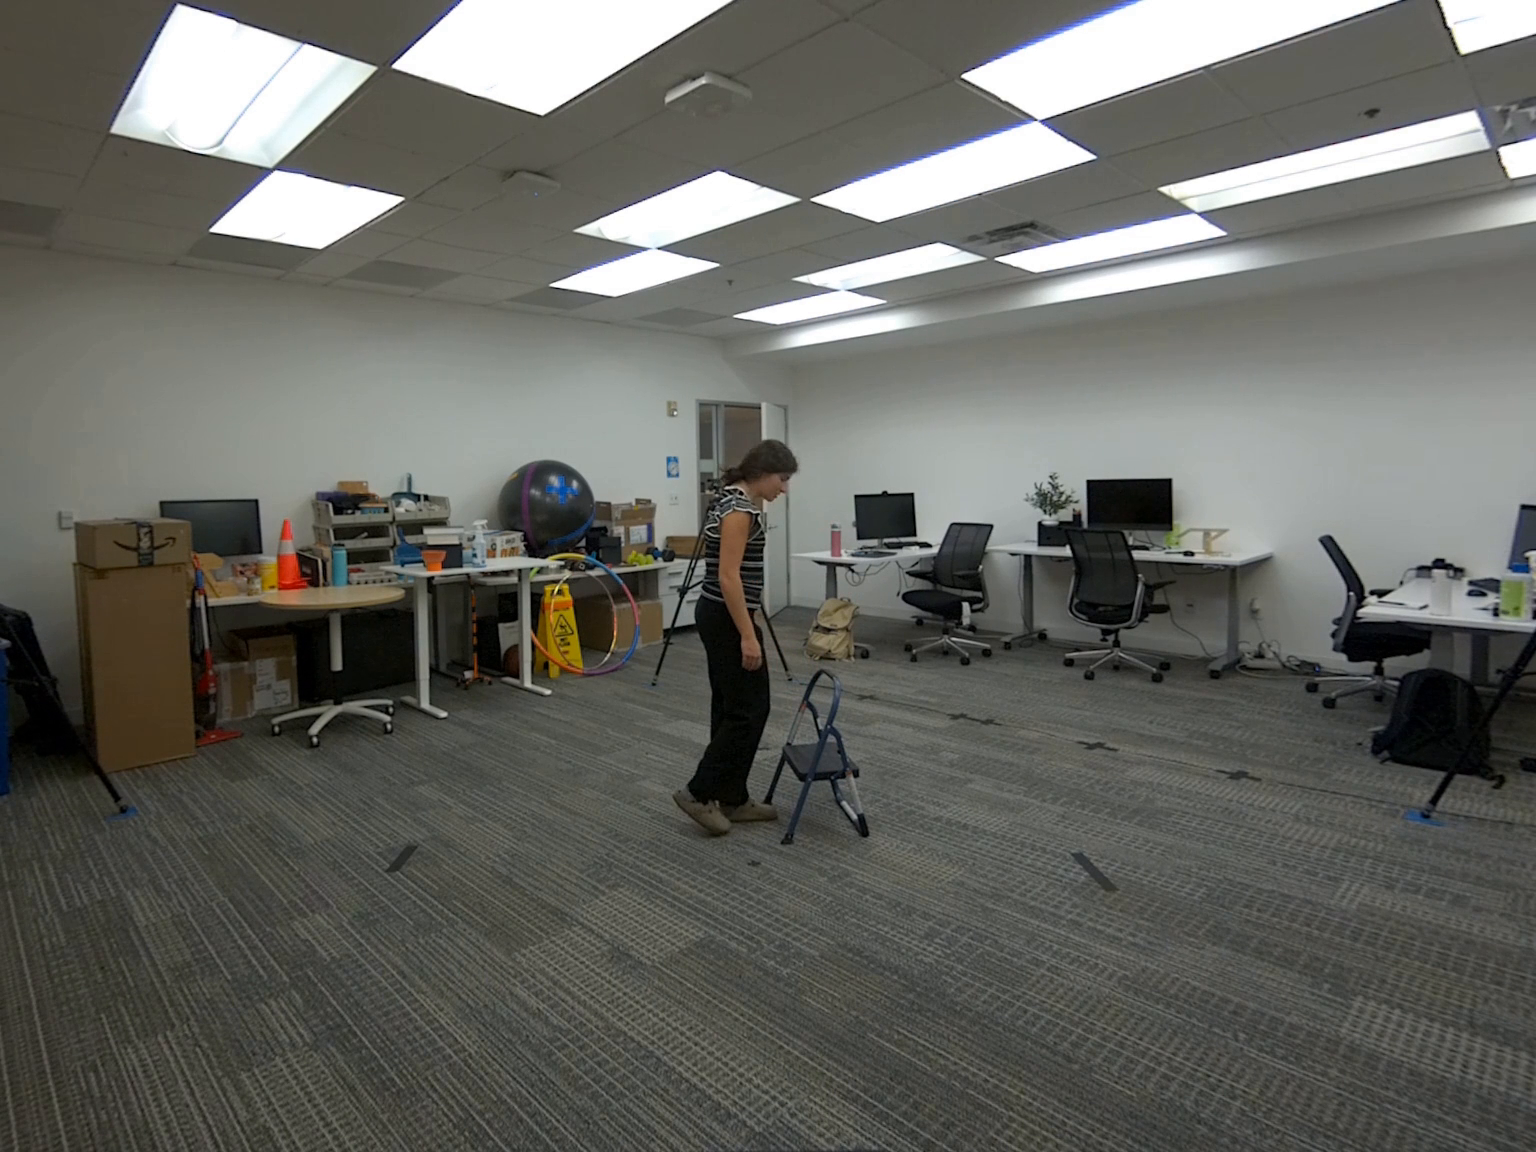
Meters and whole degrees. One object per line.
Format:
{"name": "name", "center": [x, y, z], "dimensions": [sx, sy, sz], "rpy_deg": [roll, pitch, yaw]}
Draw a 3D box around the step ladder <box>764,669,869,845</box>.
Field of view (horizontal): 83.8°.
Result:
{"name": "step ladder", "center": [0.183, 0.694, 3.473], "dimensions": [0.346, 0.604, 0.436], "rpy_deg": [-1, 5, -11]}
